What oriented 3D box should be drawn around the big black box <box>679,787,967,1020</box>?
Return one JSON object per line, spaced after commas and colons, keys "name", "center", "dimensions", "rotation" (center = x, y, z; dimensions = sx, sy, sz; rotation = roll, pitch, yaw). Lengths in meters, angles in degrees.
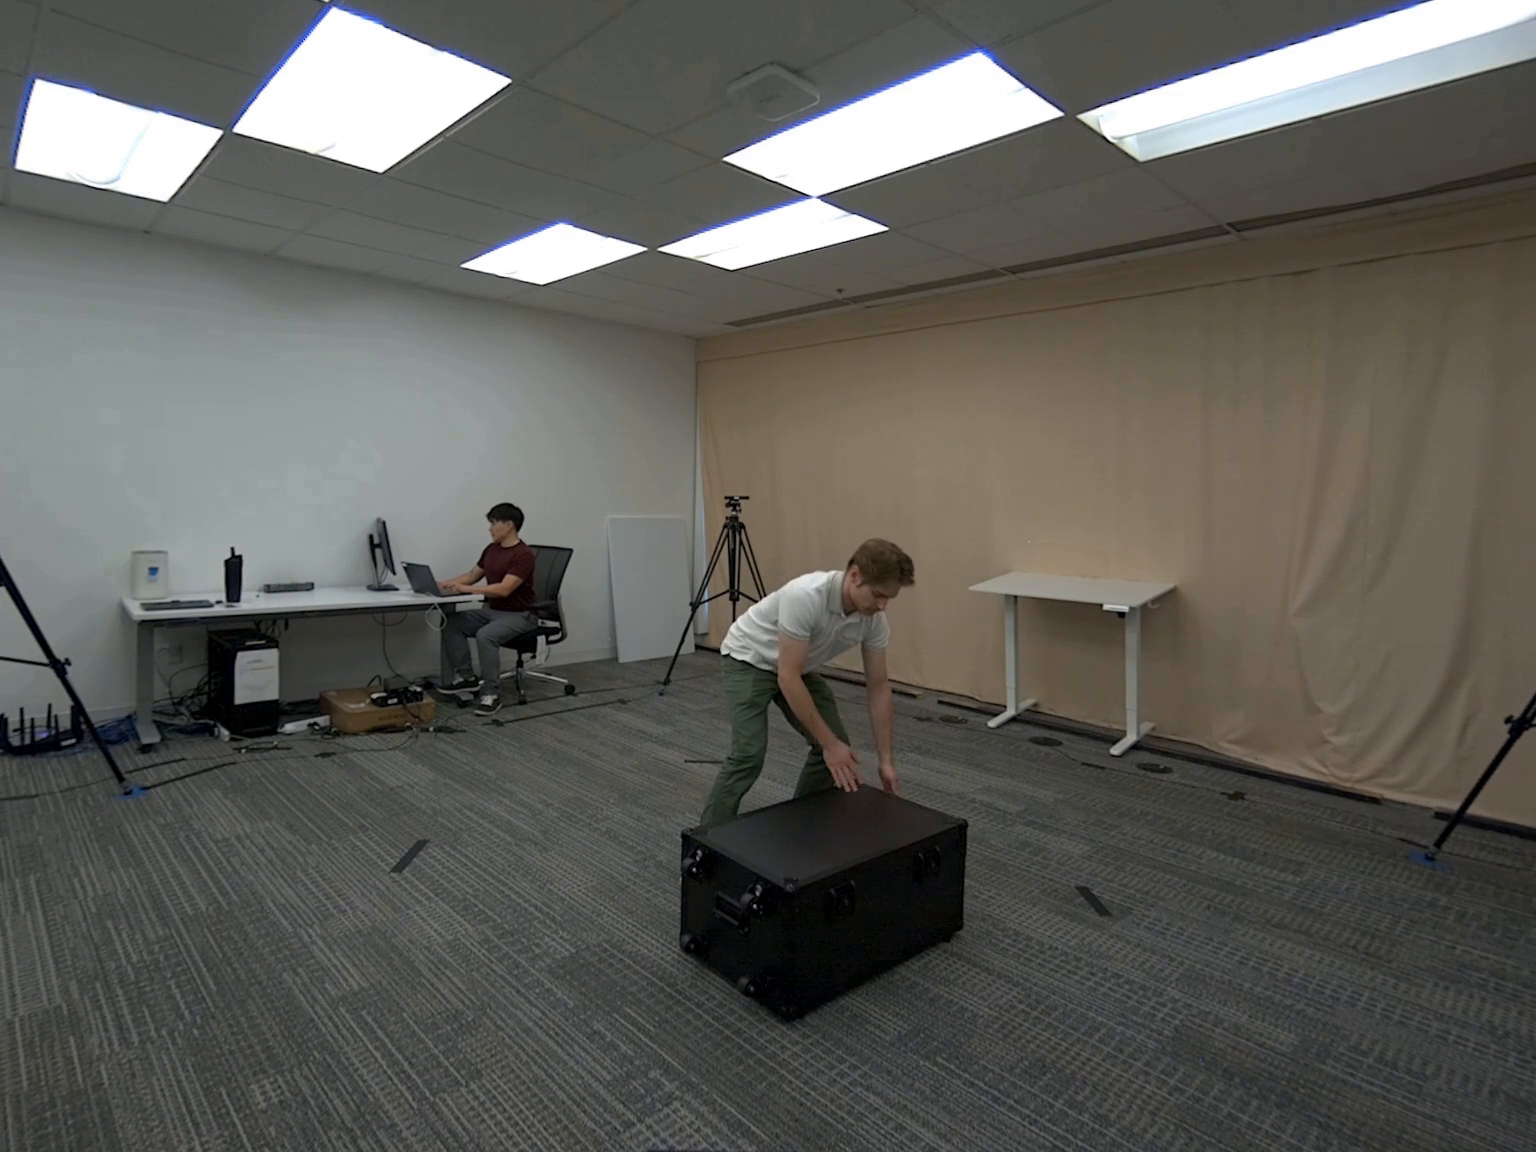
{"name": "big black box", "center": [0.147, 0.958, 2.612], "dimensions": [0.849, 0.384, 0.537], "rotation": [-3, 7, -41]}
